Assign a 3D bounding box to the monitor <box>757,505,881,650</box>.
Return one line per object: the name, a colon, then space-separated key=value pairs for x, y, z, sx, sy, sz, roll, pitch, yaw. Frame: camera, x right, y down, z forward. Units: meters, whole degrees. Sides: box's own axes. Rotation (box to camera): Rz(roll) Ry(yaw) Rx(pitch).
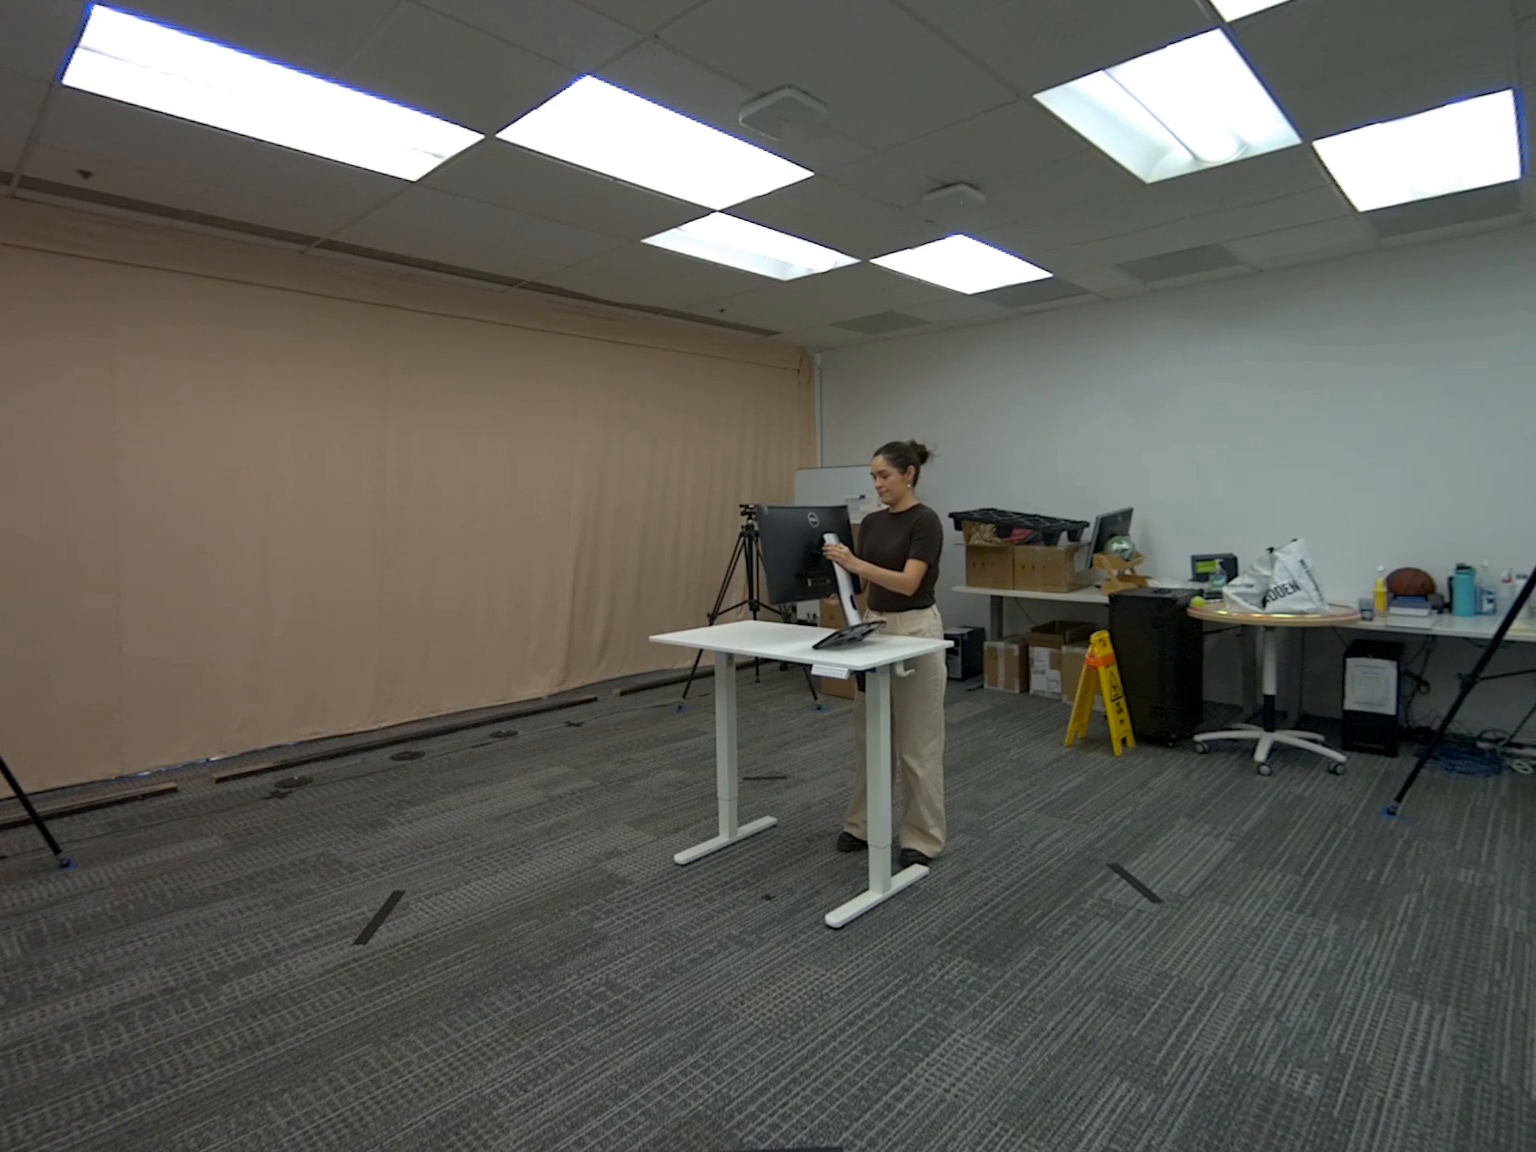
monitor: x=0.217 y=-0.015 z=3.040 sx=0.190 sy=0.530 sz=0.522 roll=-31 pitch=-18 yaw=38
